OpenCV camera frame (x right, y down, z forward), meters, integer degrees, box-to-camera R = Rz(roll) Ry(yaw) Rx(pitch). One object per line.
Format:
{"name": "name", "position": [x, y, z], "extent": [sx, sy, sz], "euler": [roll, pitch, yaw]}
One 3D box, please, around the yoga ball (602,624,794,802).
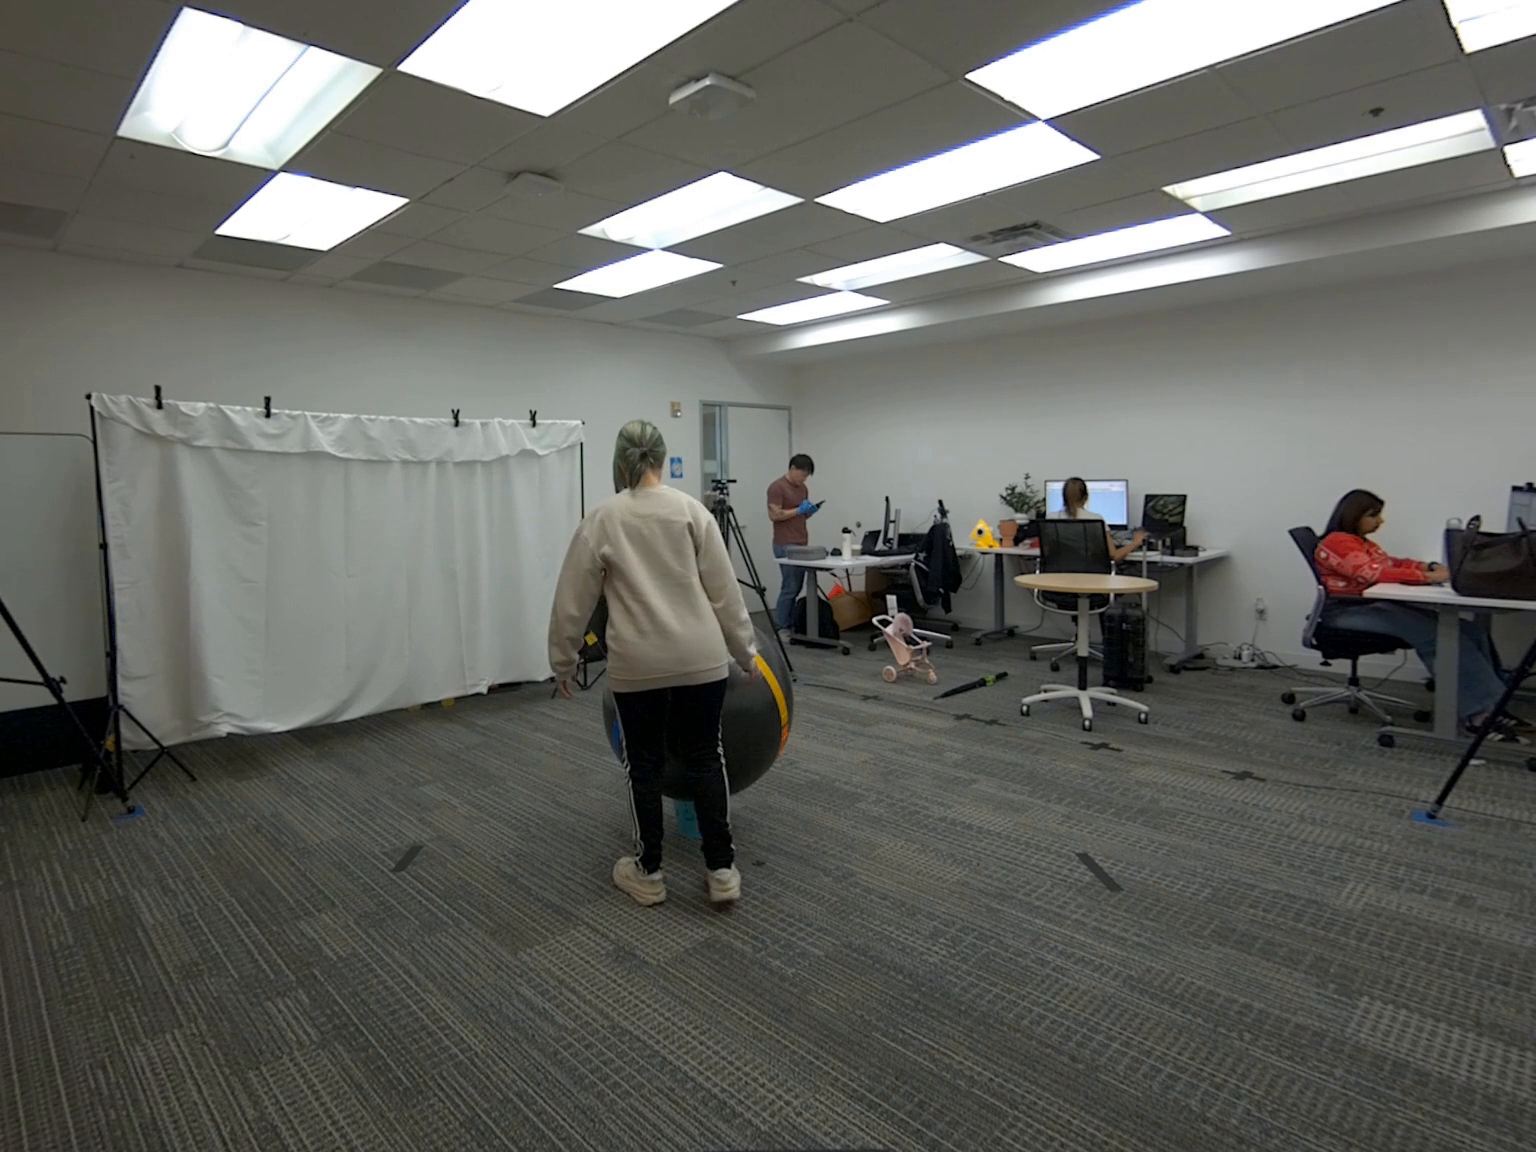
{"name": "yoga ball", "position": [-0.278, 0.505, 3.400], "extent": [0.757, 0.755, 0.762], "euler": [-1, 5, -2]}
